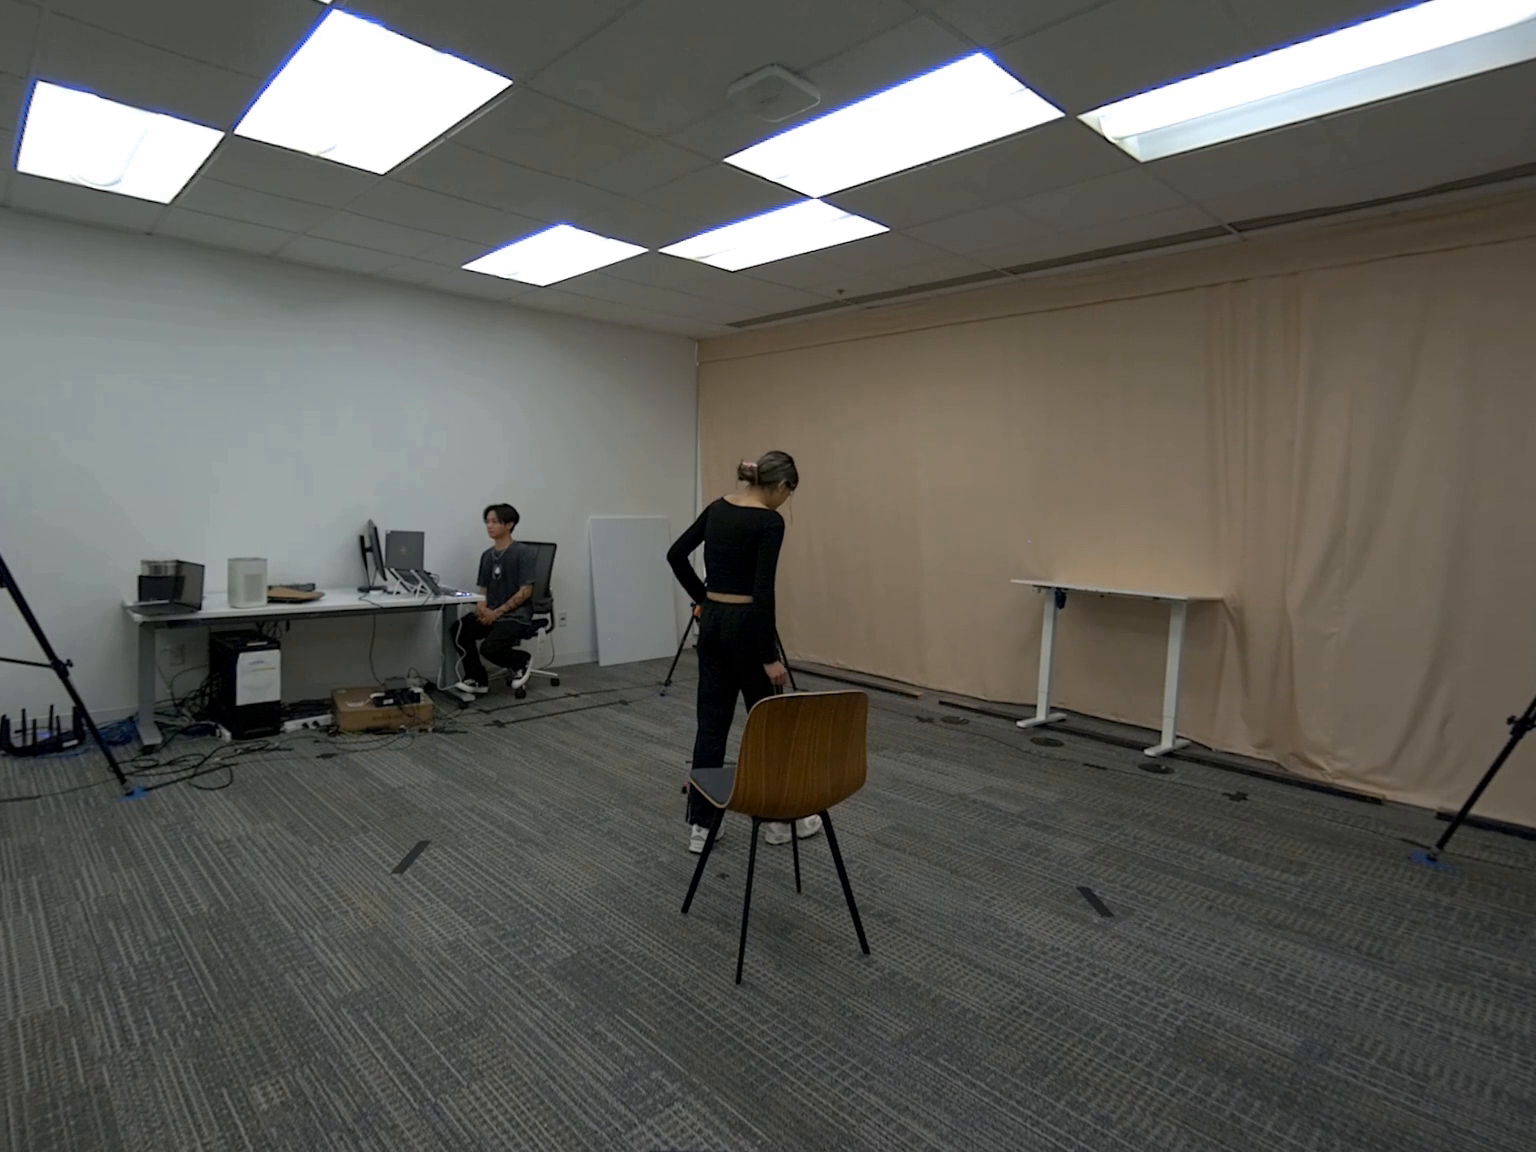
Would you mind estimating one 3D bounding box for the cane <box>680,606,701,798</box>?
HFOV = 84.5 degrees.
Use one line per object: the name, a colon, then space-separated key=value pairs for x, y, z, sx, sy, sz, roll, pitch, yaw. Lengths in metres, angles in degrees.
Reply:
cane: x=-0.276 y=0.551 z=3.745 sx=0.202 sy=0.902 sz=0.156 roll=-6 pitch=11 yaw=-38
